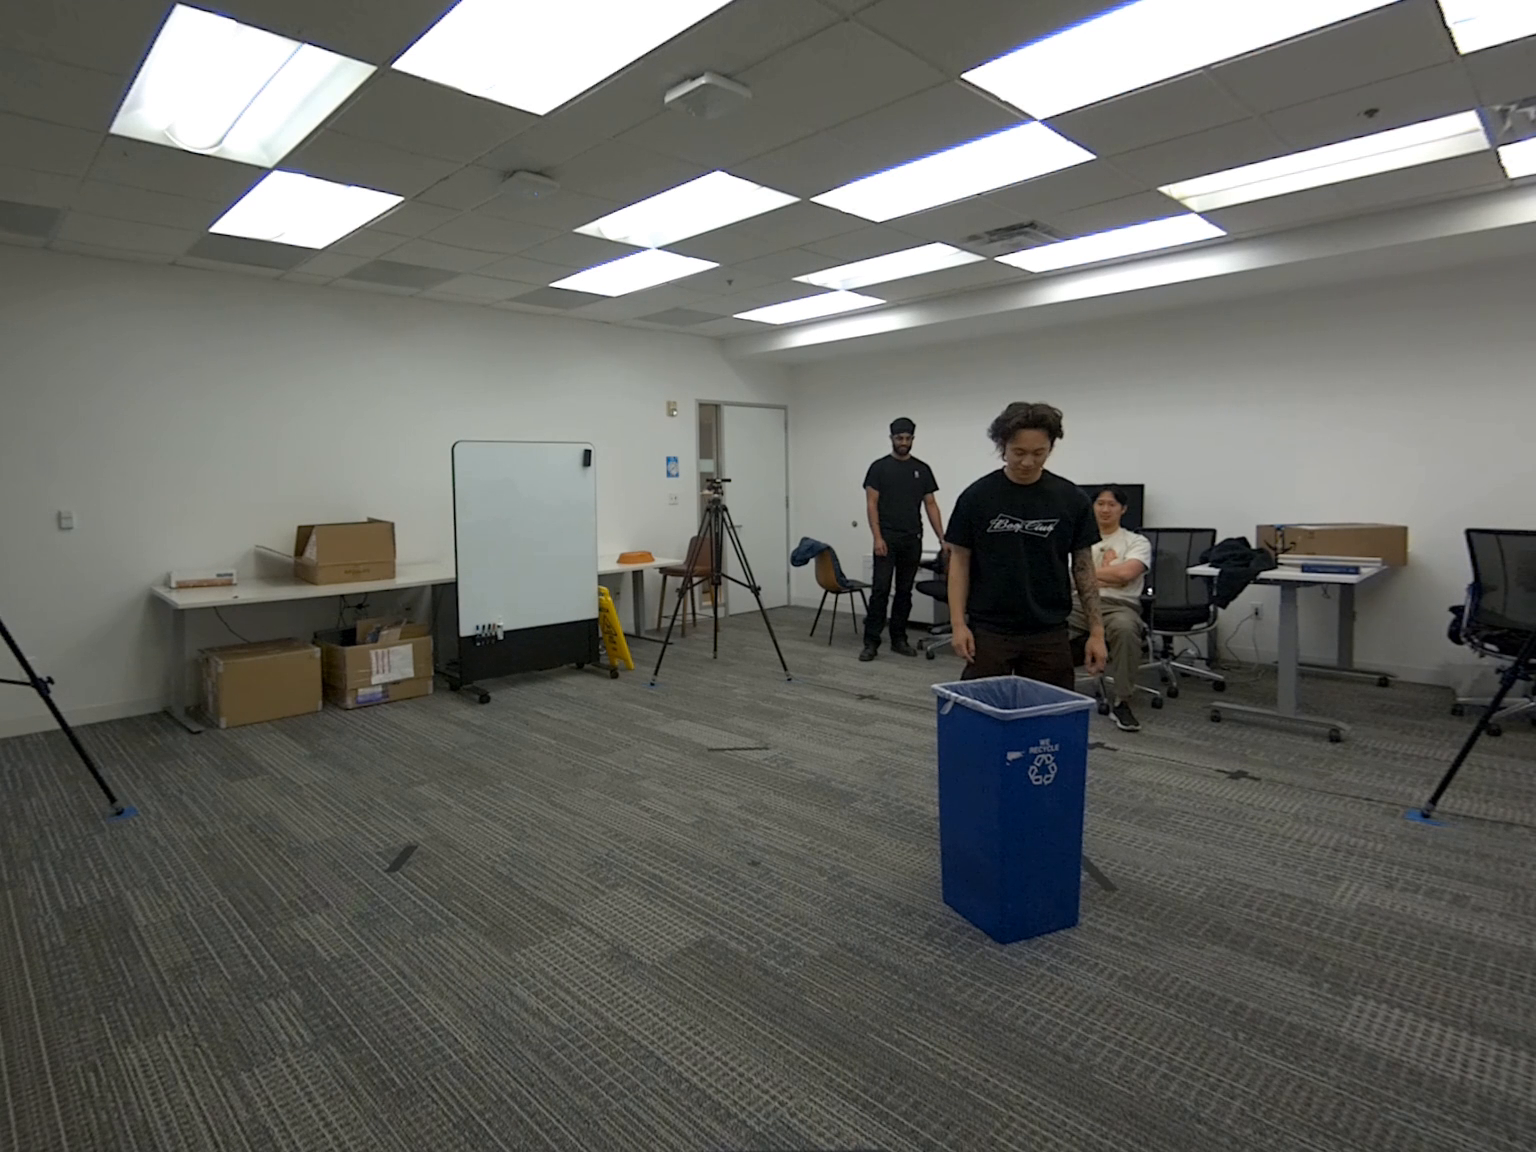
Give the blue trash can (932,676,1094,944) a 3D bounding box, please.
[{"bbox_3d":[0.770,0.718,2.710,0.366,0.711,0.387,-3,5,-25],"label":"blue trash can"}]
